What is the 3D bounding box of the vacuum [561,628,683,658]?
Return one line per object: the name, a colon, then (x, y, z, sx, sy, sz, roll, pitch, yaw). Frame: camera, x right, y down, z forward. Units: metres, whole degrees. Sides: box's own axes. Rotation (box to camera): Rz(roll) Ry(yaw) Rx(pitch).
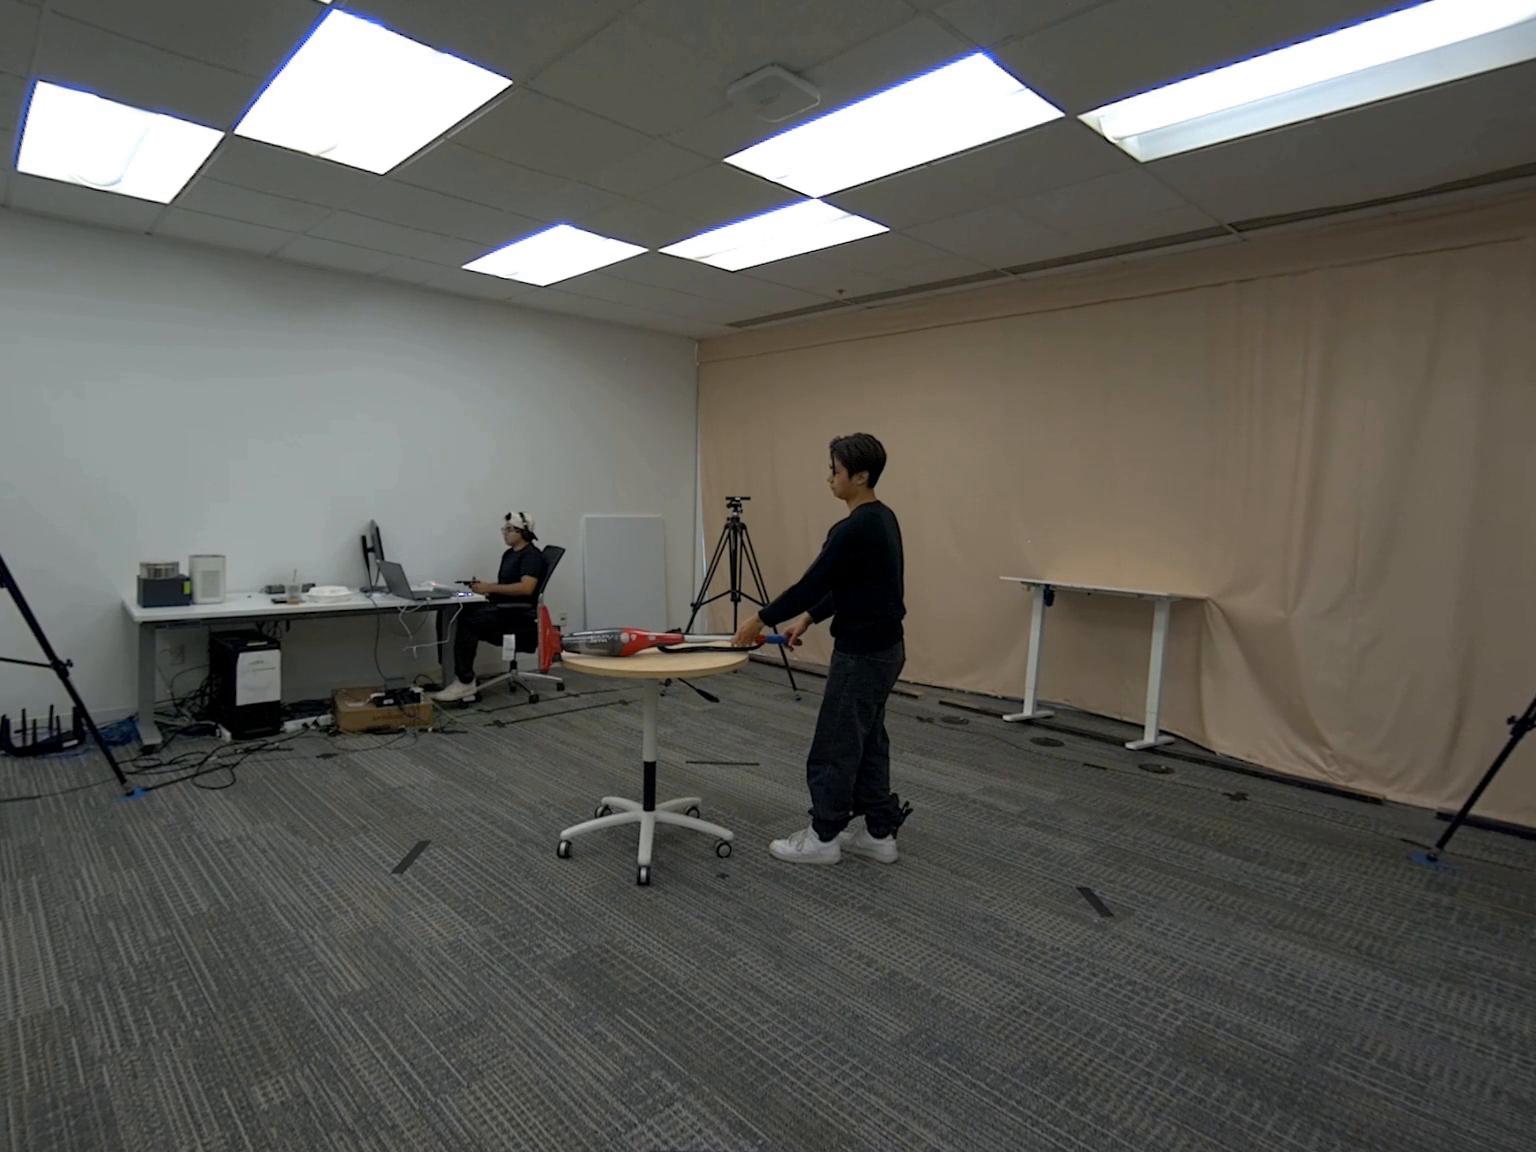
vacuum: (-0.359, 0.262, 3.275, 1.030, 0.256, 0.144, 3, -21, -24)
